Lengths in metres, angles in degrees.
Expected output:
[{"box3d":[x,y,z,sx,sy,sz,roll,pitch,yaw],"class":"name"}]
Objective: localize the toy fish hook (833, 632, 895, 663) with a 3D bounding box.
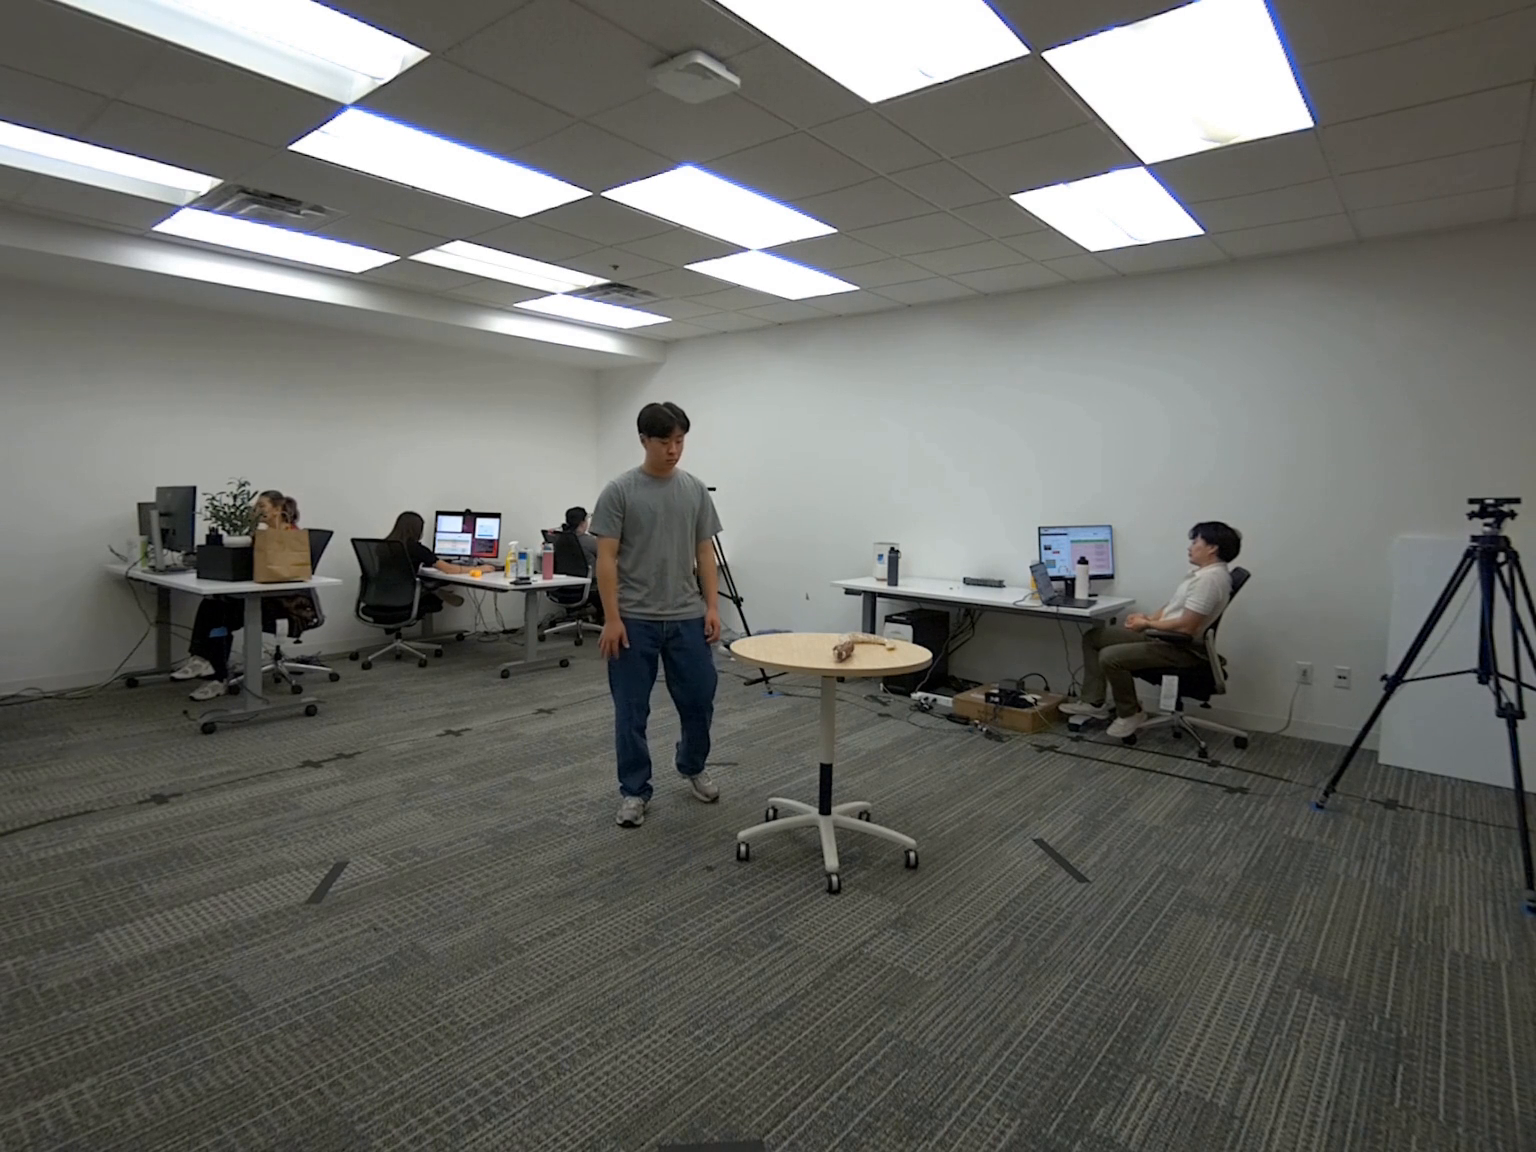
[{"box3d":[0.351,0.267,3.215,0.228,0.048,0.500,2,5,13],"class":"toy fish hook"}]
